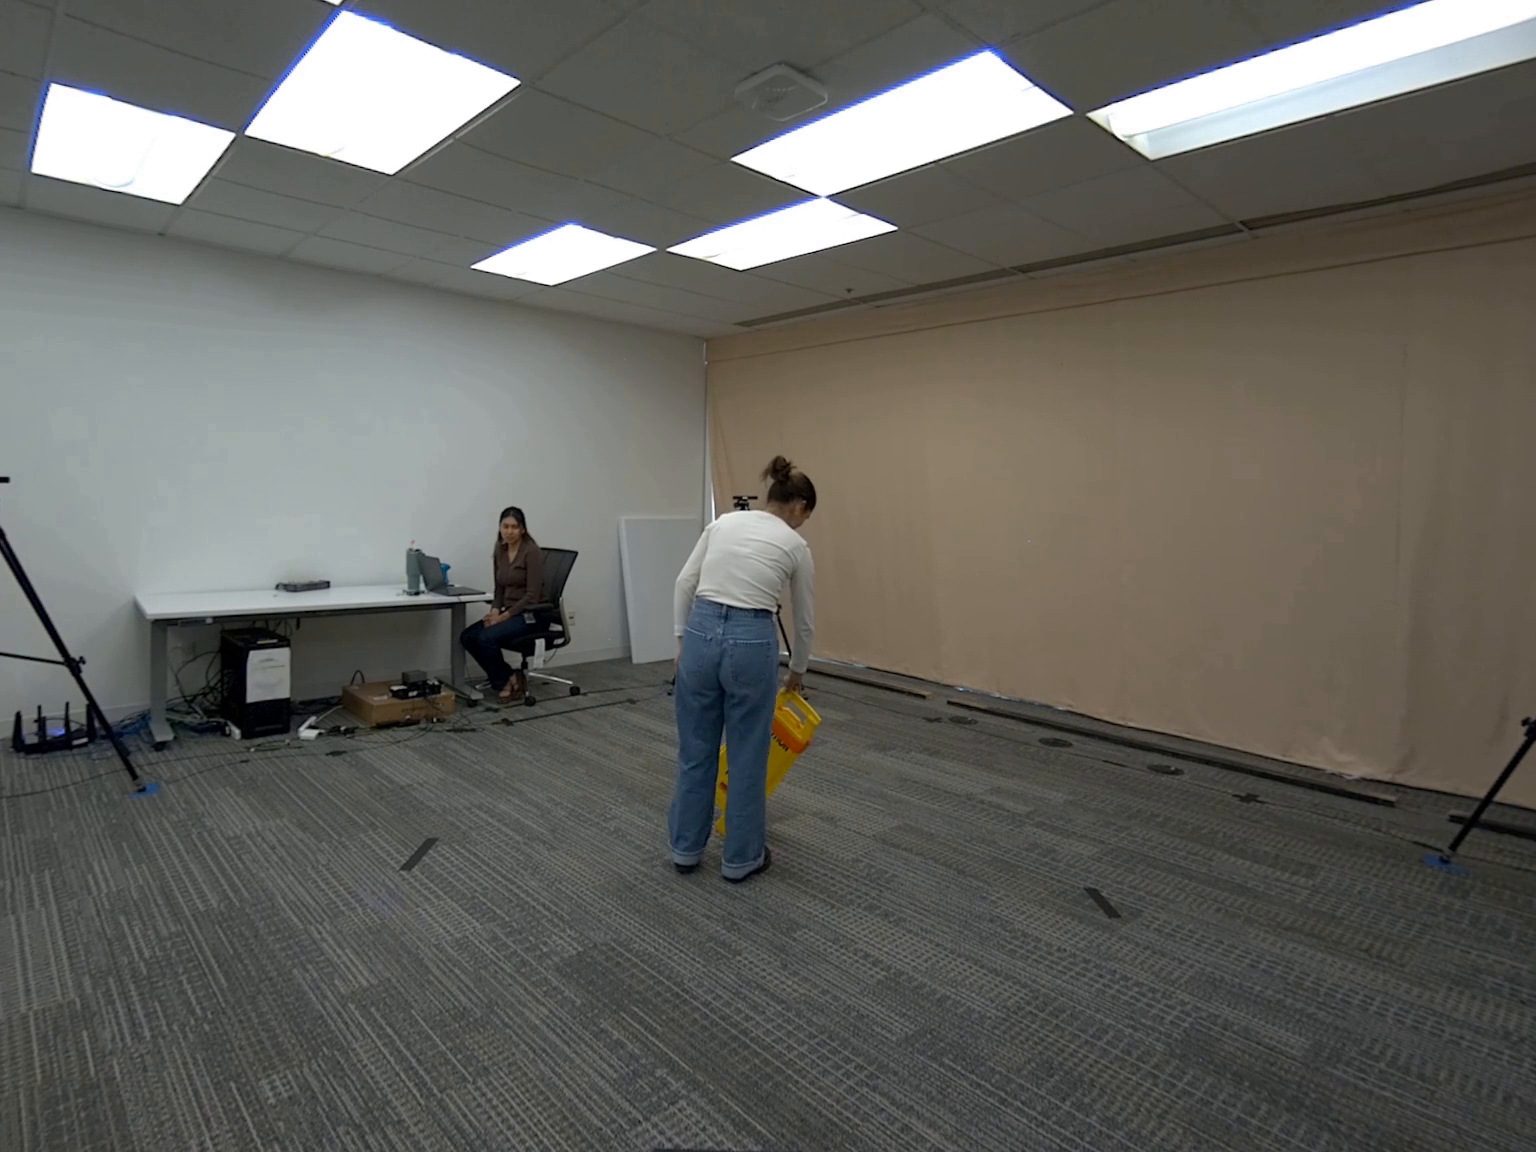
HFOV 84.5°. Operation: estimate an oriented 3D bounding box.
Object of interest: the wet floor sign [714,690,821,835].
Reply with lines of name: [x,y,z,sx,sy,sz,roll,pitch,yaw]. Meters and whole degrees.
wet floor sign: [-0.036,0.731,3.456,0.287,0.643,0.286,42,29,14]
